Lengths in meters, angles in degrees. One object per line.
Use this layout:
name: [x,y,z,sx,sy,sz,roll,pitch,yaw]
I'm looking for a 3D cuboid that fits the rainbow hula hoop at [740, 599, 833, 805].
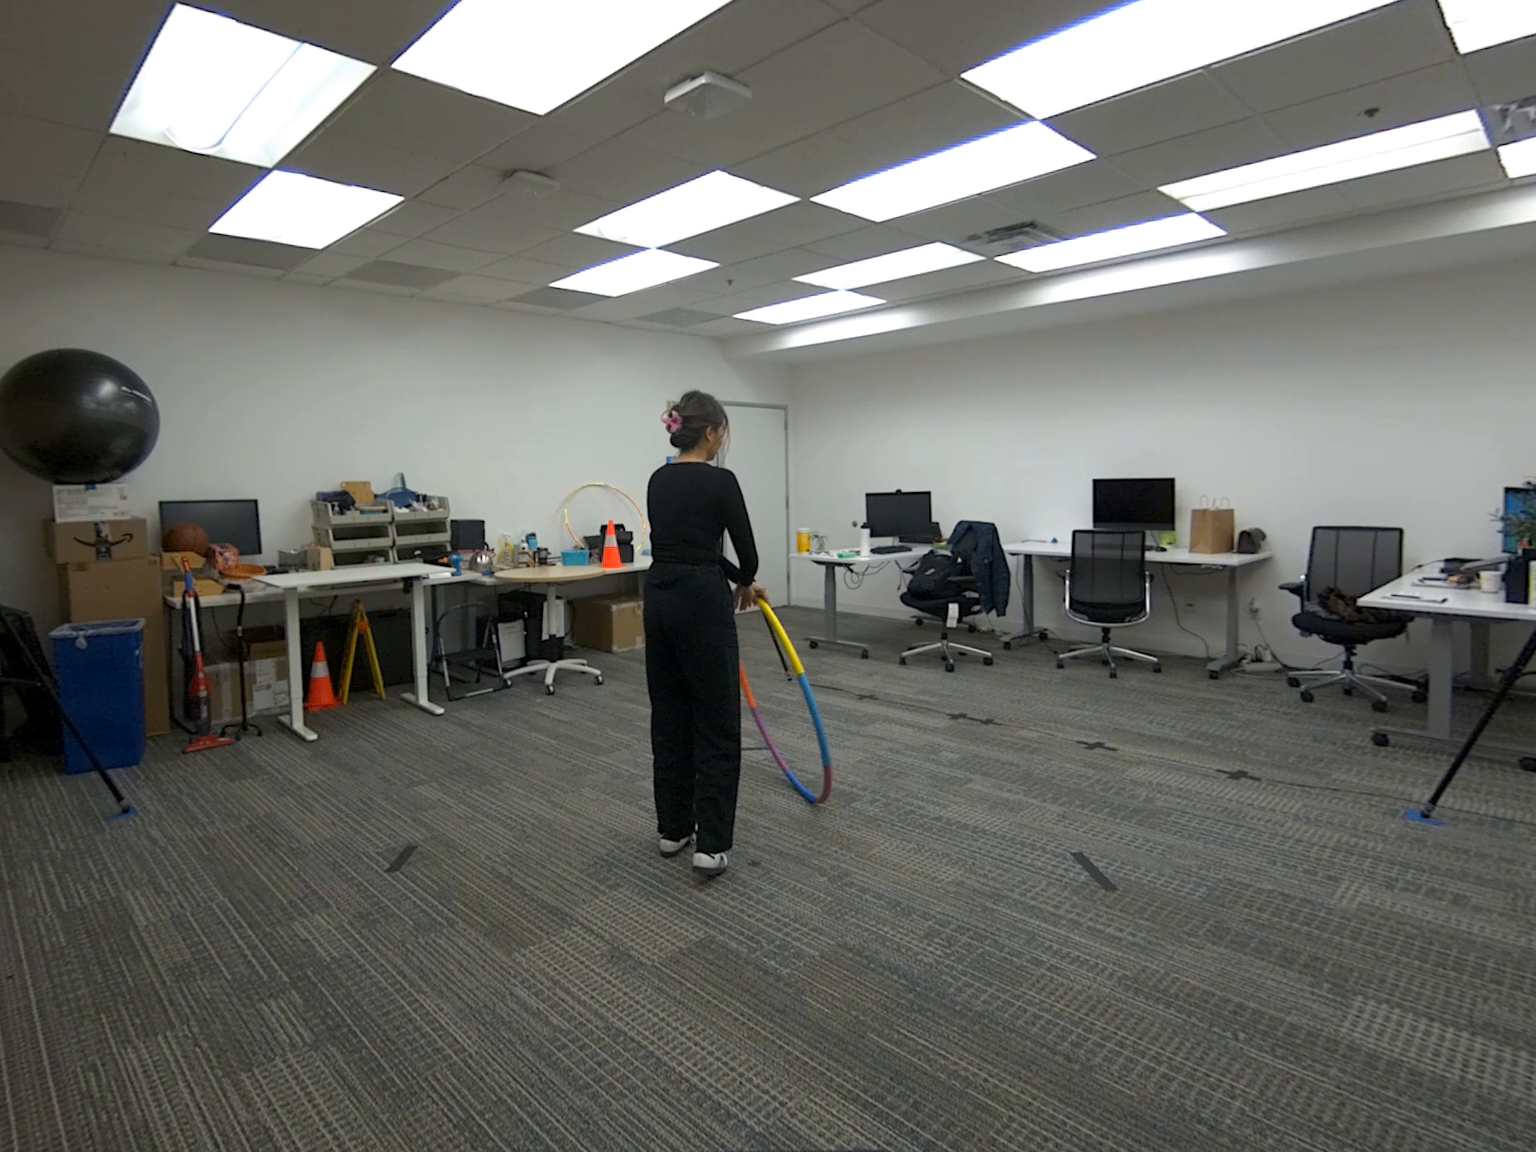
rainbow hula hoop: [0.038,0.507,3.705,0.035,0.969,0.998,-18,10,-17]
